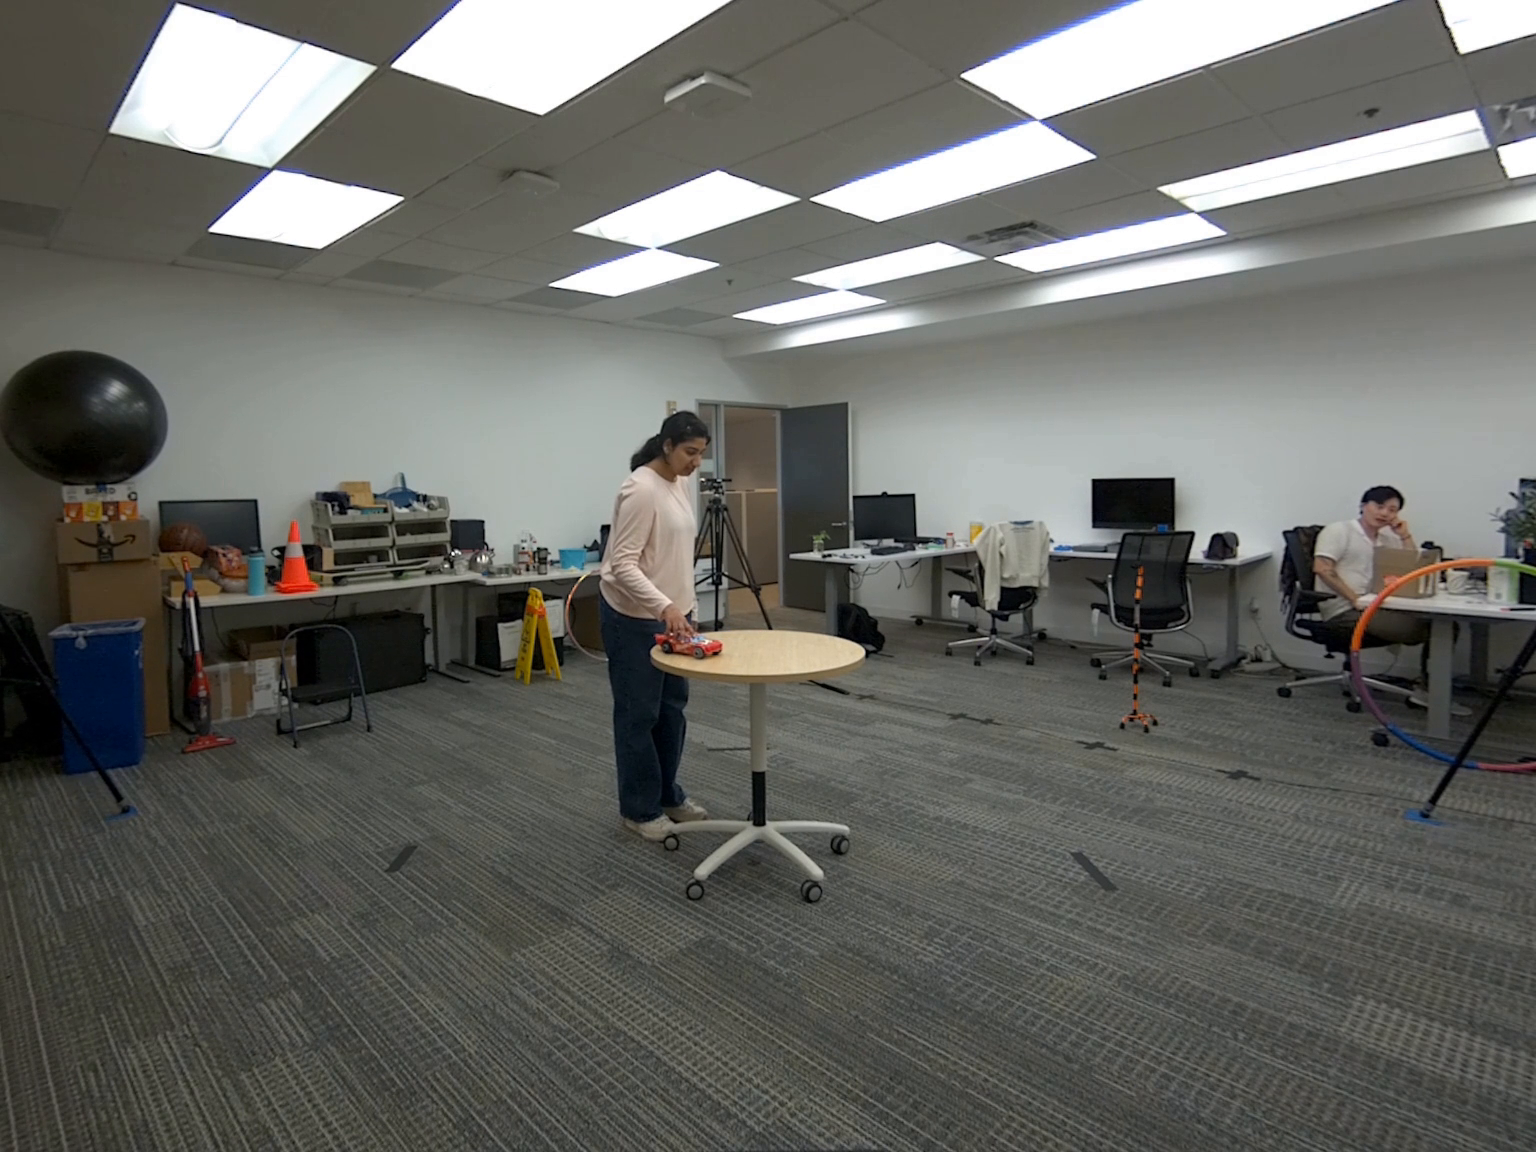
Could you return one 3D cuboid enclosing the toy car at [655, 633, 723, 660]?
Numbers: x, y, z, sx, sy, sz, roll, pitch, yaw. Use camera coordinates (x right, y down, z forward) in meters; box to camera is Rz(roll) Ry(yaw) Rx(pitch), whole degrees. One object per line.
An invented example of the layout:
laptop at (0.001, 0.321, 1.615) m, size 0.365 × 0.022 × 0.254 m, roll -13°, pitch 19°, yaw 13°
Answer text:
toy car at (-0.282, 0.242, 3.016) m, size 0.263 × 0.082 × 0.127 m, roll 17°, pitch 15°, yaw 34°
